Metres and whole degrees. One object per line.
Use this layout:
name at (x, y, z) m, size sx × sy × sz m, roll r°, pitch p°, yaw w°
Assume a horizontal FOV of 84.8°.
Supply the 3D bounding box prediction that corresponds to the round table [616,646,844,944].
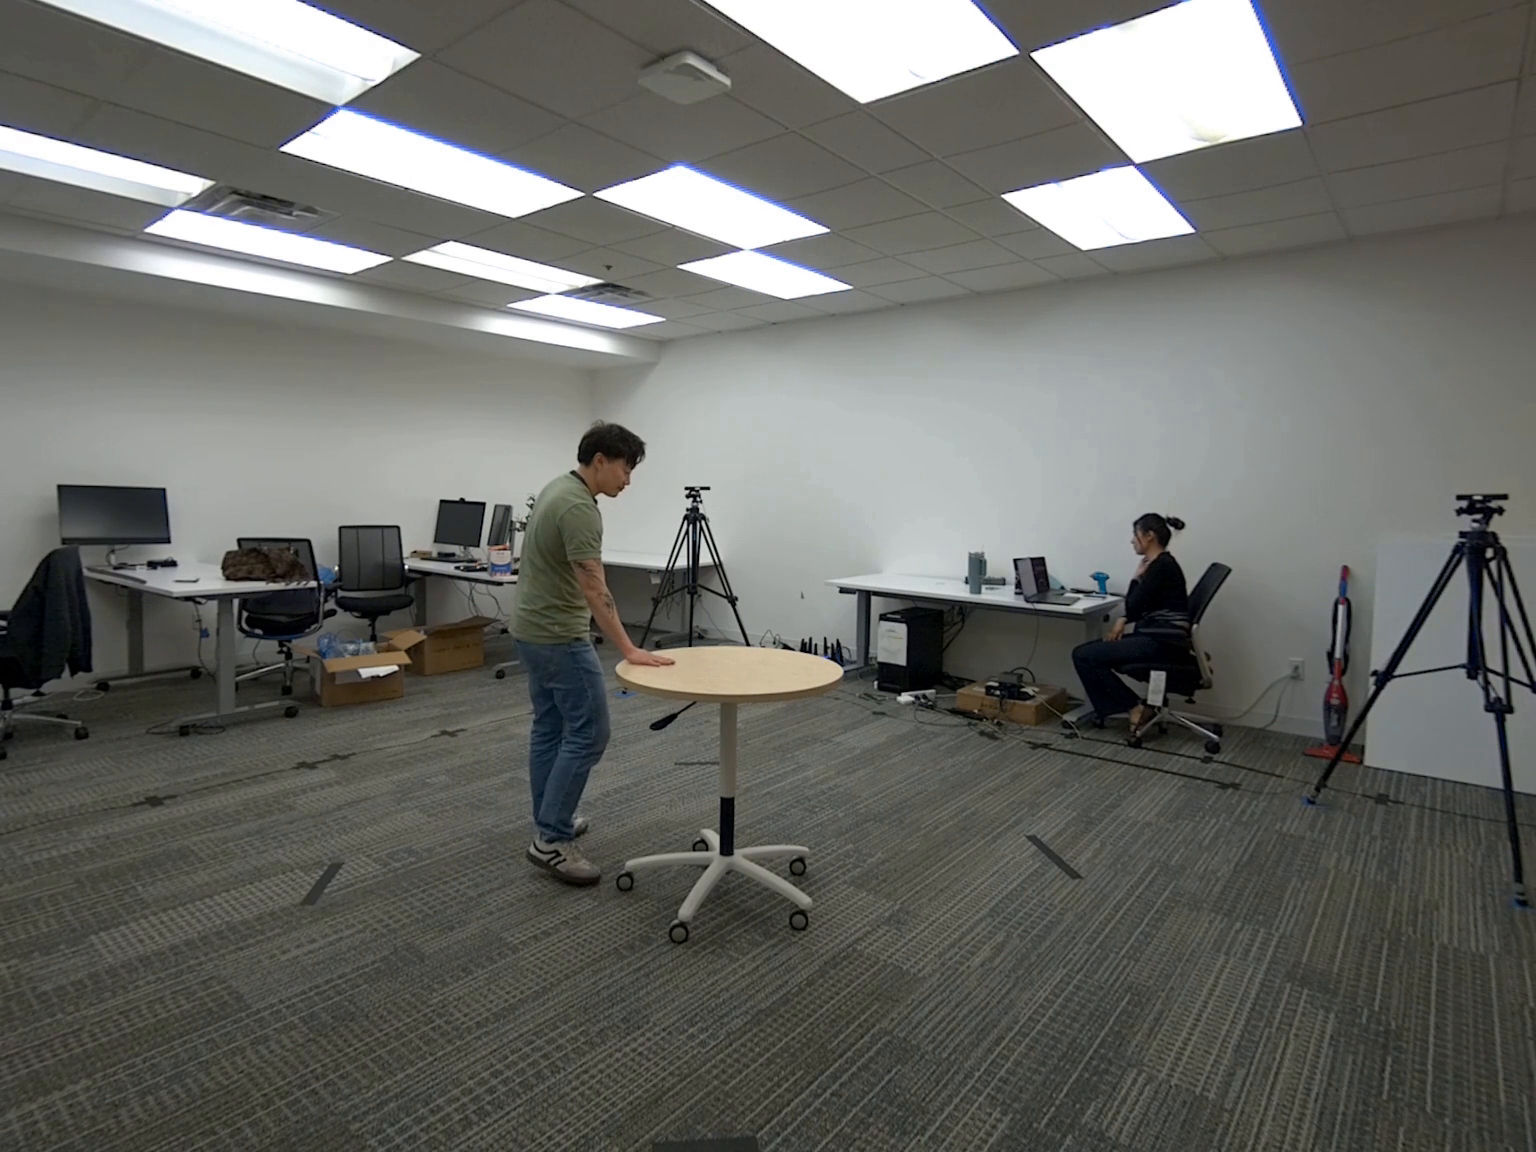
round table at (-0.144, 0.699, 2.892) m, size 0.763 × 0.791 × 0.768 m, roll 1°, pitch 4°, yaw -2°
